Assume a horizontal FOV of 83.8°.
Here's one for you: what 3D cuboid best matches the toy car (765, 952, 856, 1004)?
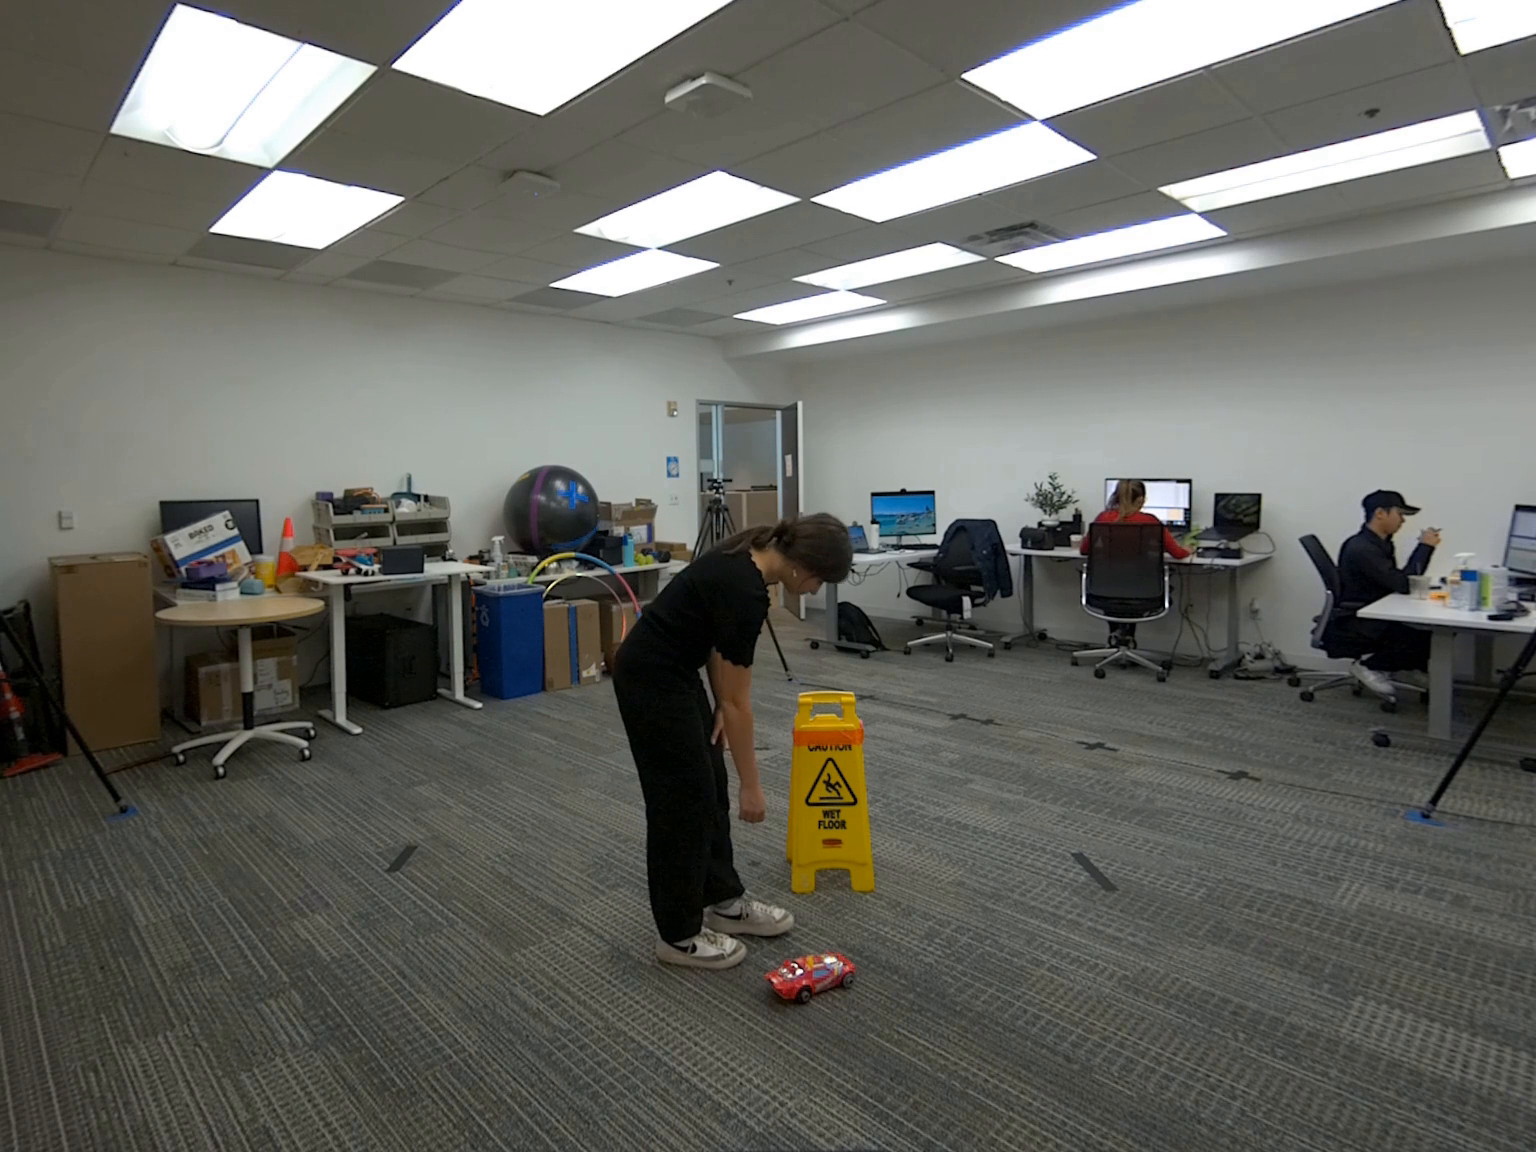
[{"bbox_3d":[0.114,1.092,2.347,0.248,0.083,0.133,8,0,-26],"label":"toy car"}]
